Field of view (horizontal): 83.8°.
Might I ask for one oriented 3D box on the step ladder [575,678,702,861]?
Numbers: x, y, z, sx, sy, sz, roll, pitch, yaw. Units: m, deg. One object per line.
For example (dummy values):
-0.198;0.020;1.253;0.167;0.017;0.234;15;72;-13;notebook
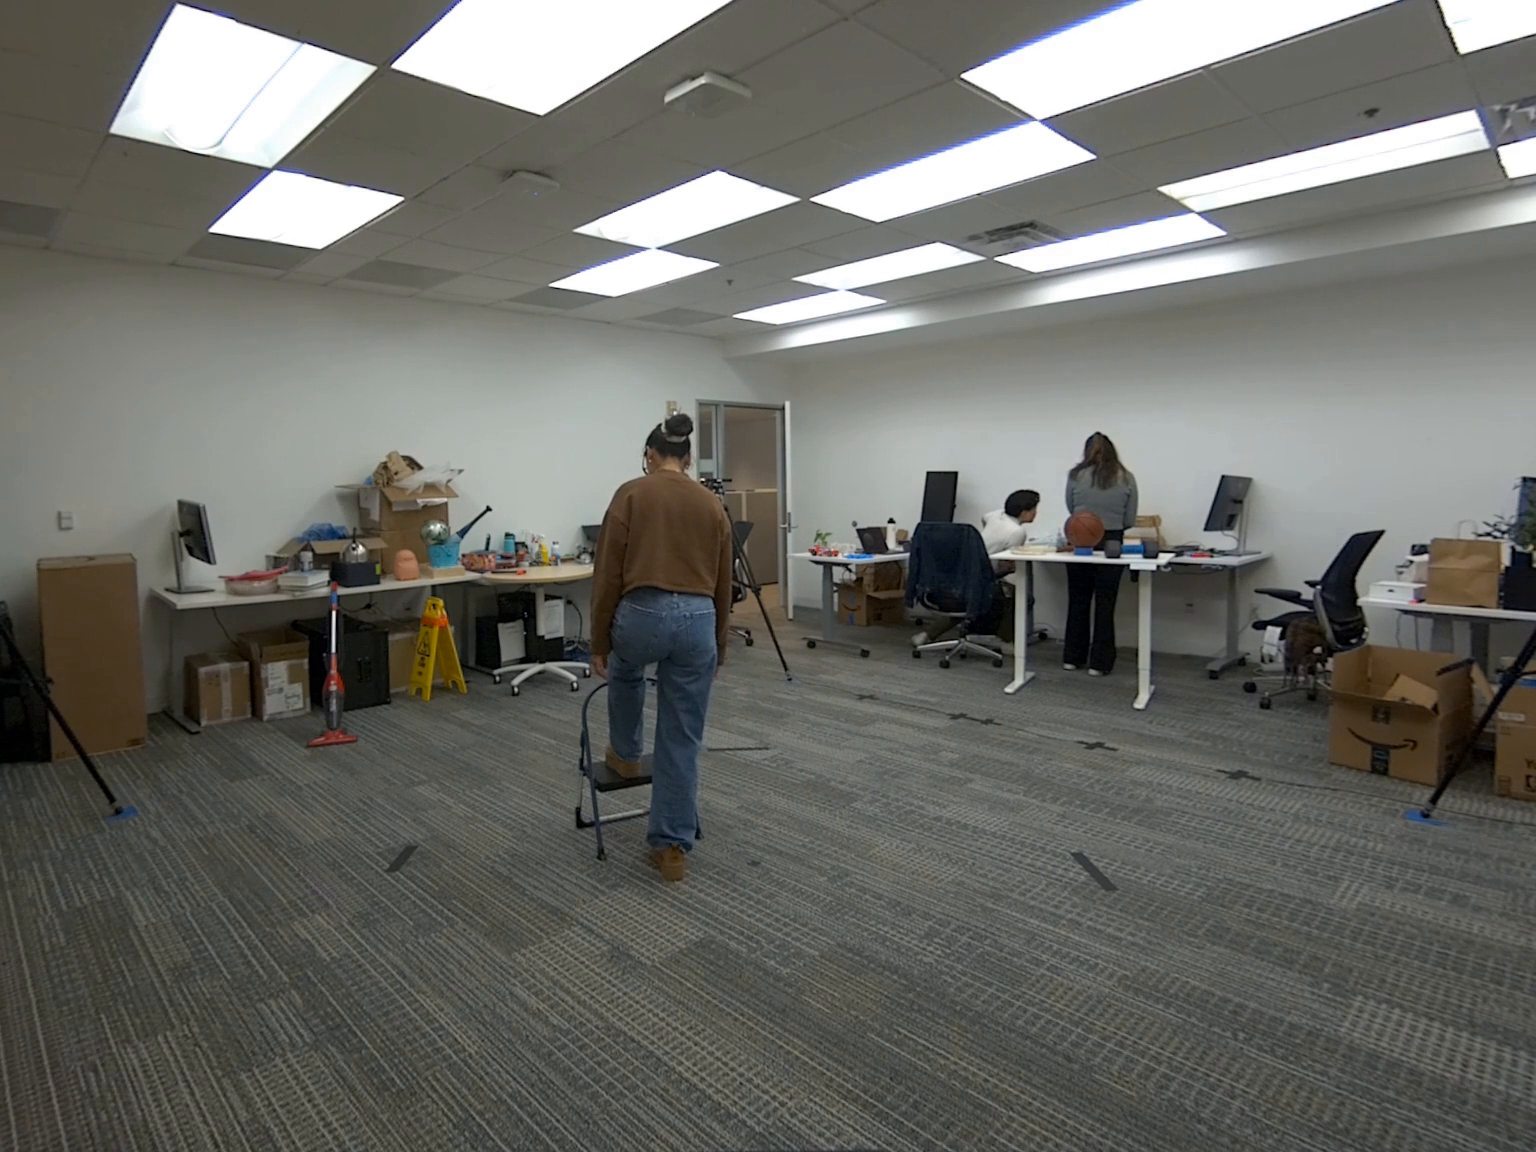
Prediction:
-0.523;0.719;3.382;0.421;0.604;0.358;-4;5;-27;step ladder
